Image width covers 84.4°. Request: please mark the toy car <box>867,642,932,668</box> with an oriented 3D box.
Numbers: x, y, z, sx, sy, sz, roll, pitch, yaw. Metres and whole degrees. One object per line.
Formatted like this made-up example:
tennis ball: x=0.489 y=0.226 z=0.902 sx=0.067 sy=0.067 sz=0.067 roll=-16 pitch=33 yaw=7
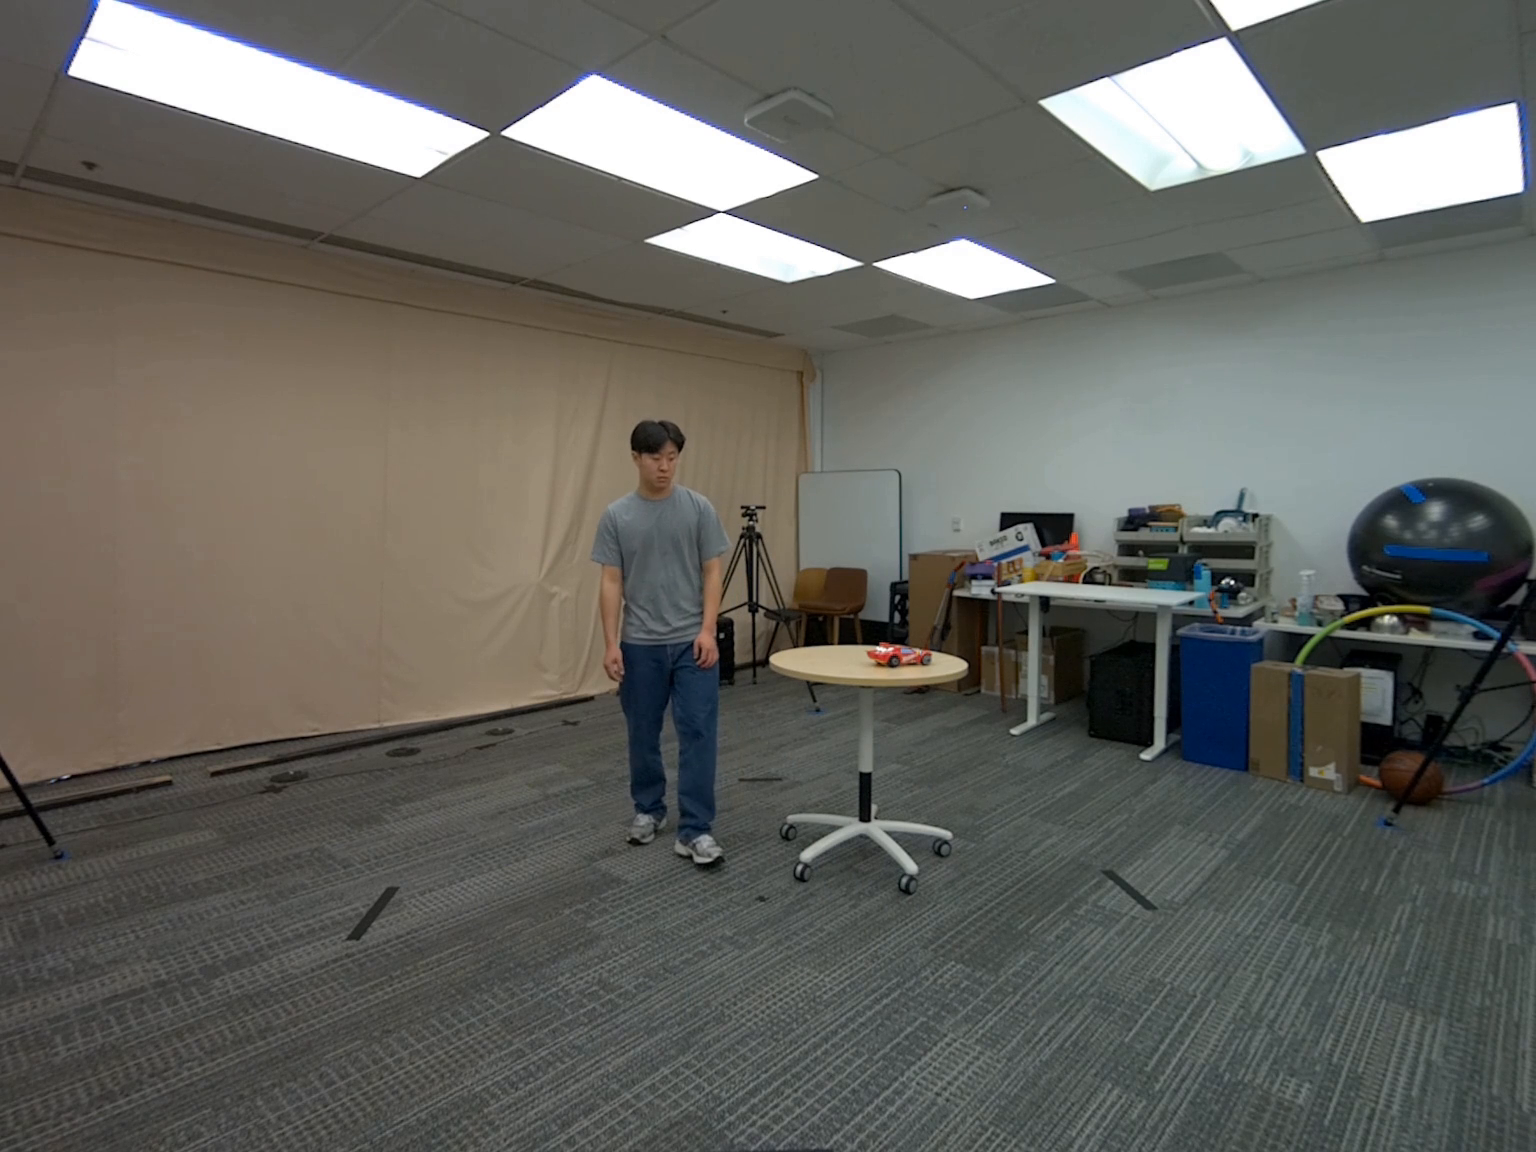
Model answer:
toy car: x=0.506 y=0.307 z=3.215 sx=0.249 sy=0.083 sz=0.133 roll=11 pitch=0 yaw=-21
